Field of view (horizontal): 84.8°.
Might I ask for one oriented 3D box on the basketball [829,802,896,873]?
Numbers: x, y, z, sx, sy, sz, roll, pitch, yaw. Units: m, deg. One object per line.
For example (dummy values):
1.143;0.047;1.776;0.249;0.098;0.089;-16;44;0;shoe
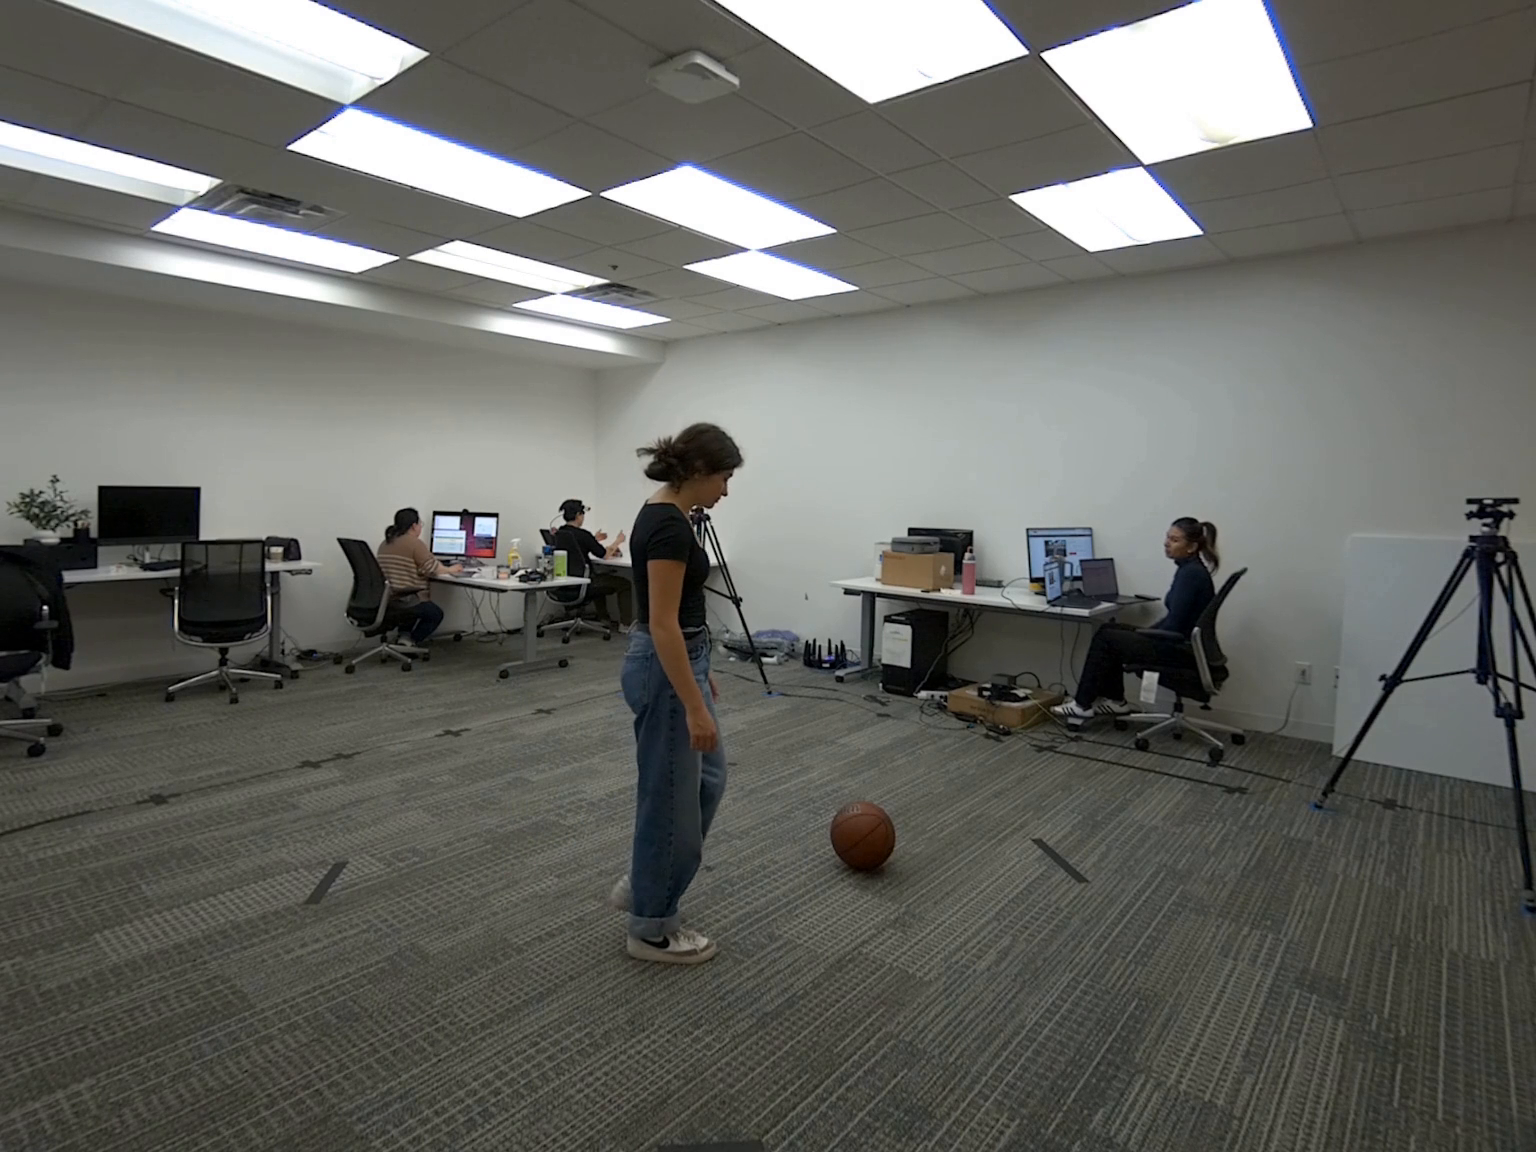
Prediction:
0.345;0.954;3.150;0.235;0.235;0.237;1;4;-2;basketball
